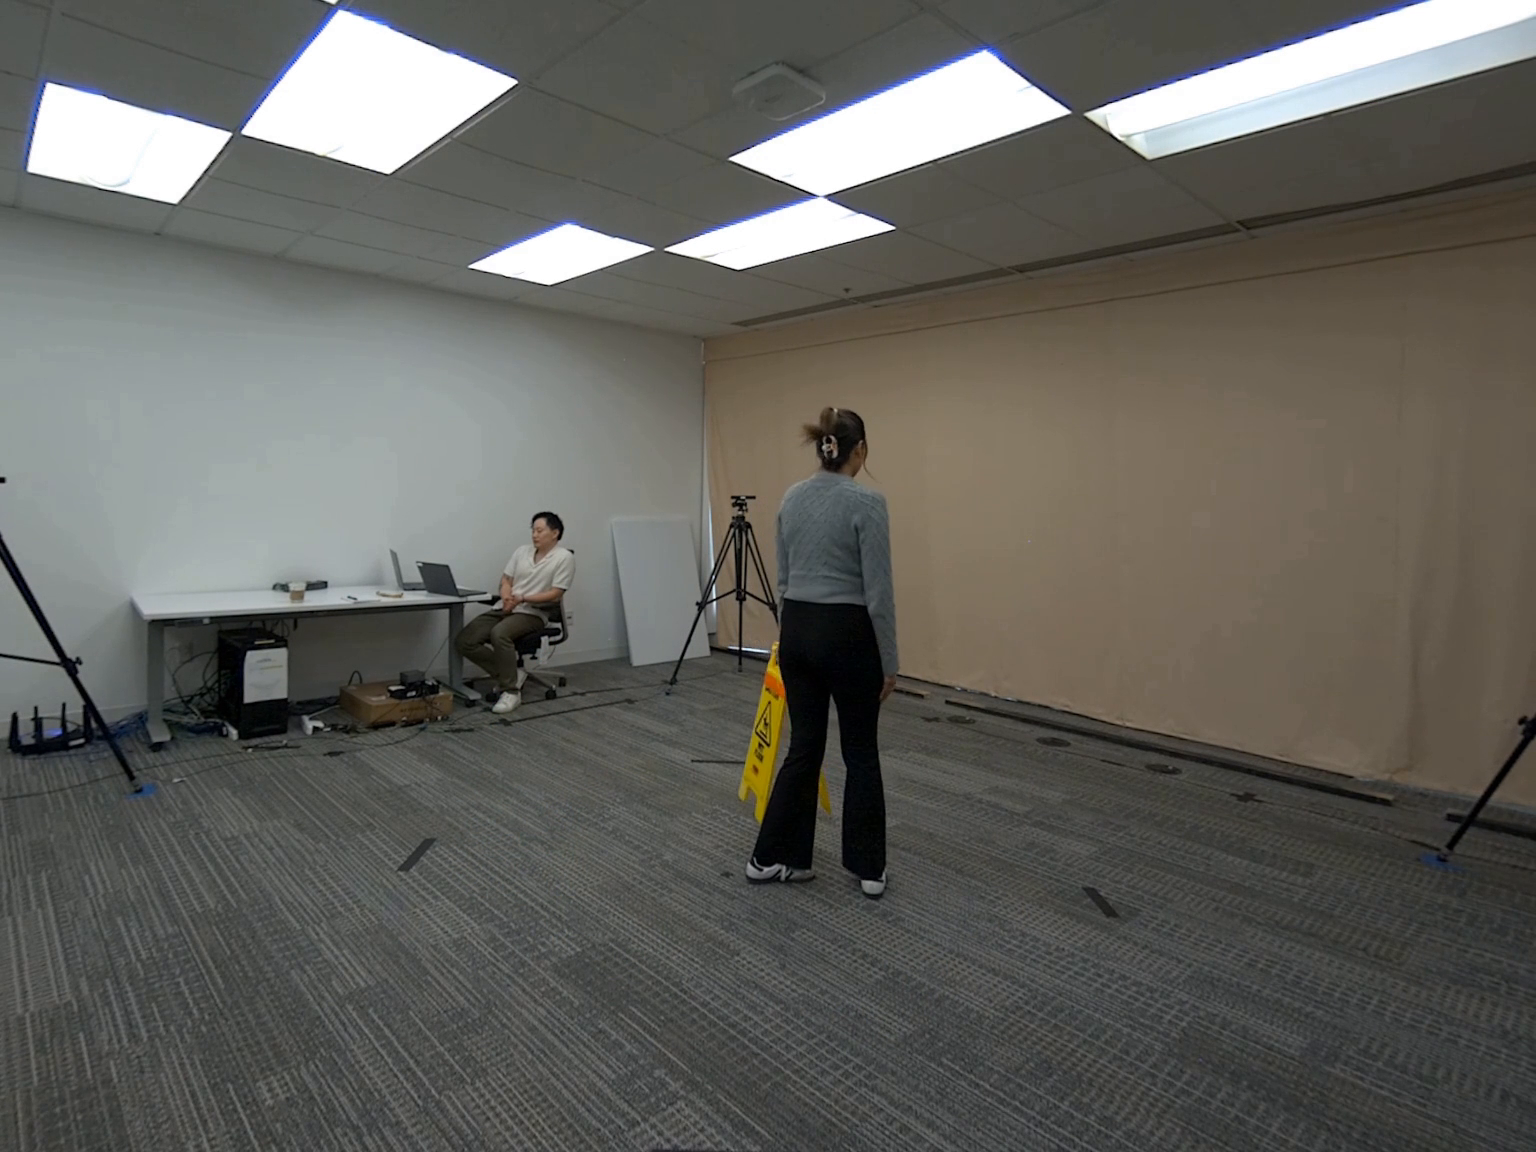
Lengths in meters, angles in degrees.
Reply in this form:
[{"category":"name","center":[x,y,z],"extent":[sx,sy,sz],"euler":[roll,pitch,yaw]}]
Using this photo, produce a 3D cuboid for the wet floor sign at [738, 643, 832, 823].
[{"category":"wet floor sign","center":[0.058,0.595,3.320],"extent":[0.286,0.642,0.288],"euler":[-2,8,-19]}]
